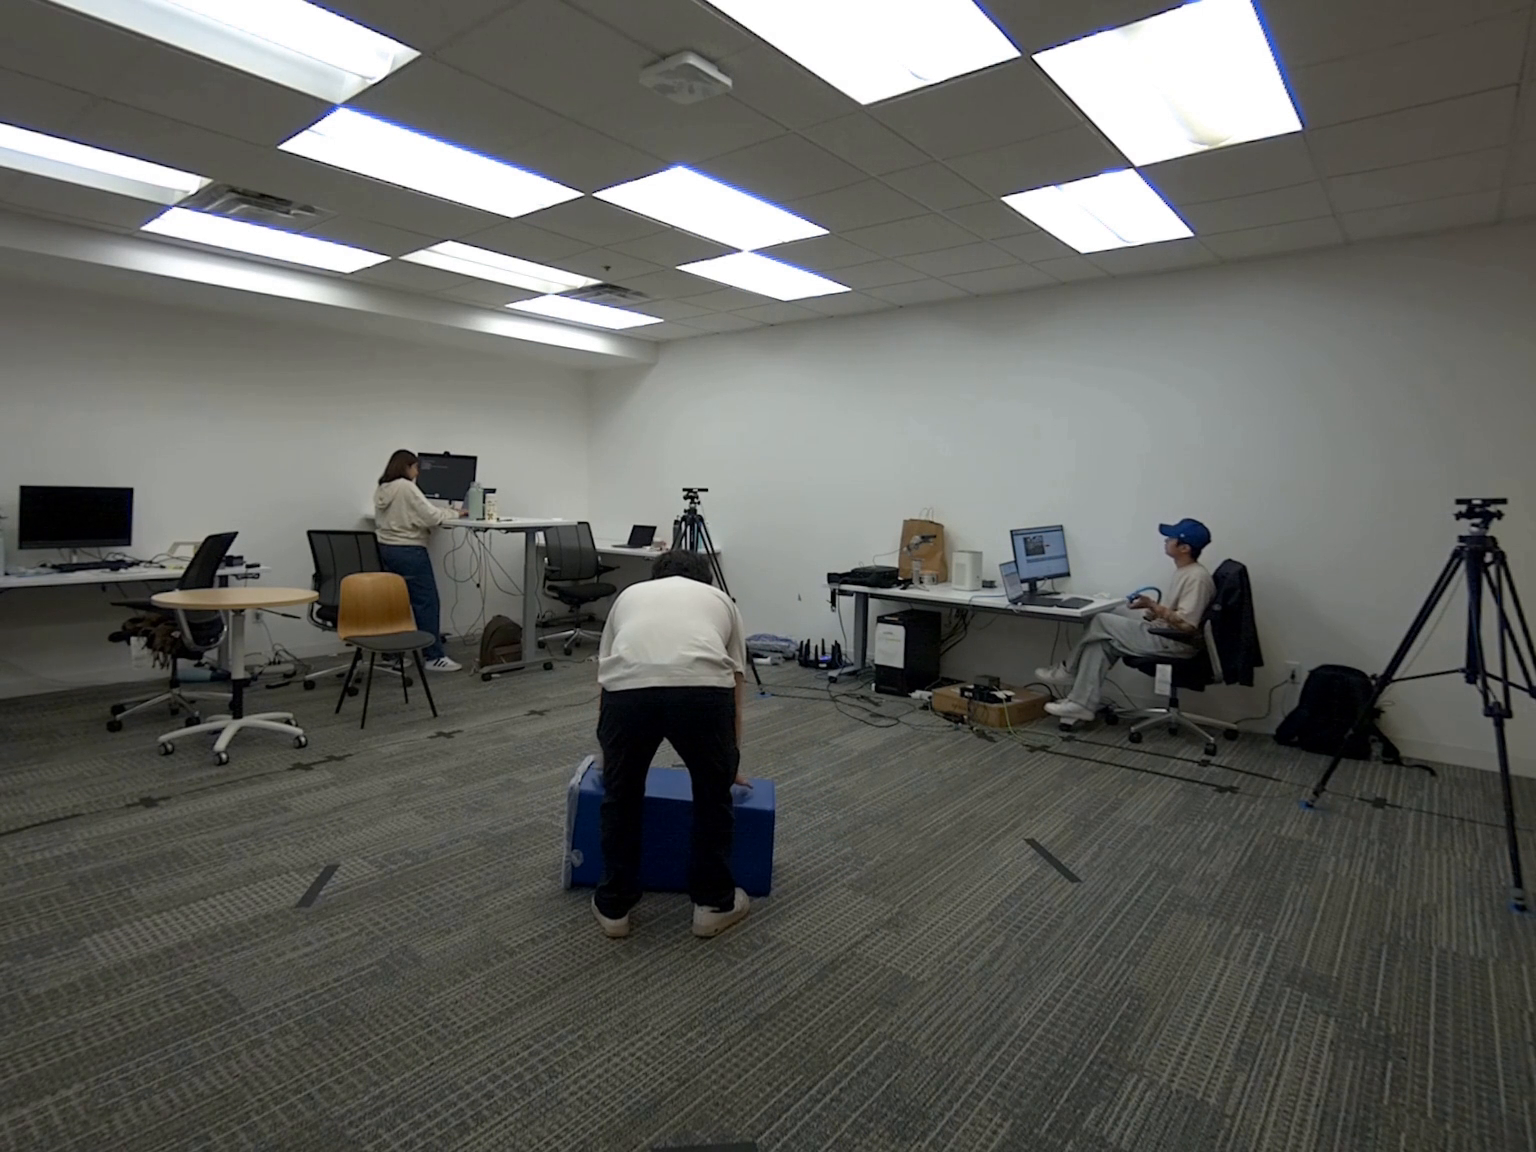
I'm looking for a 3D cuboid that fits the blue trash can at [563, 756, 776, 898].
[{"bbox_3d":[-0.354,0.899,3.068,0.715,0.377,0.374,4,3,2],"label":"blue trash can"}]
